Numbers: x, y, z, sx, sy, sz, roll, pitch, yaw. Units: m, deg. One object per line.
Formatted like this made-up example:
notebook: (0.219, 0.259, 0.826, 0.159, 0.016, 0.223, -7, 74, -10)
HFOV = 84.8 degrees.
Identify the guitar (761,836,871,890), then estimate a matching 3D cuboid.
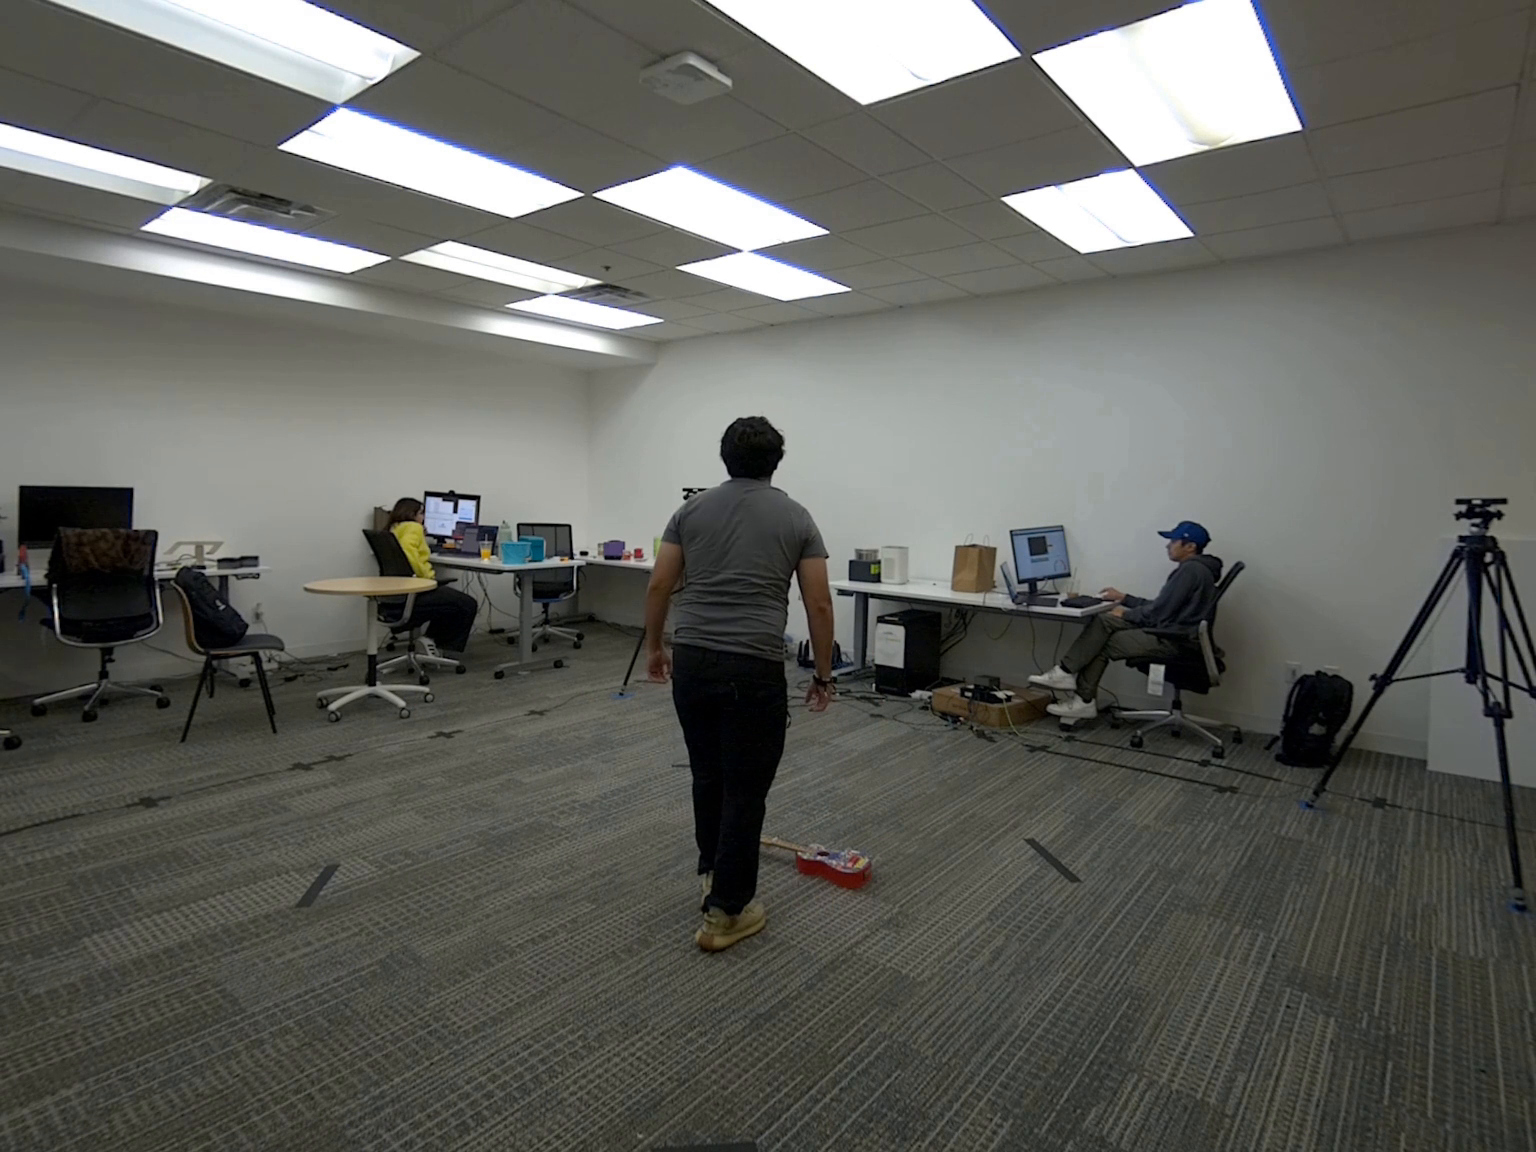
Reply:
guitar: (0.146, 1.039, 3.187, 0.514, 0.070, 0.187, 6, 7, 36)
